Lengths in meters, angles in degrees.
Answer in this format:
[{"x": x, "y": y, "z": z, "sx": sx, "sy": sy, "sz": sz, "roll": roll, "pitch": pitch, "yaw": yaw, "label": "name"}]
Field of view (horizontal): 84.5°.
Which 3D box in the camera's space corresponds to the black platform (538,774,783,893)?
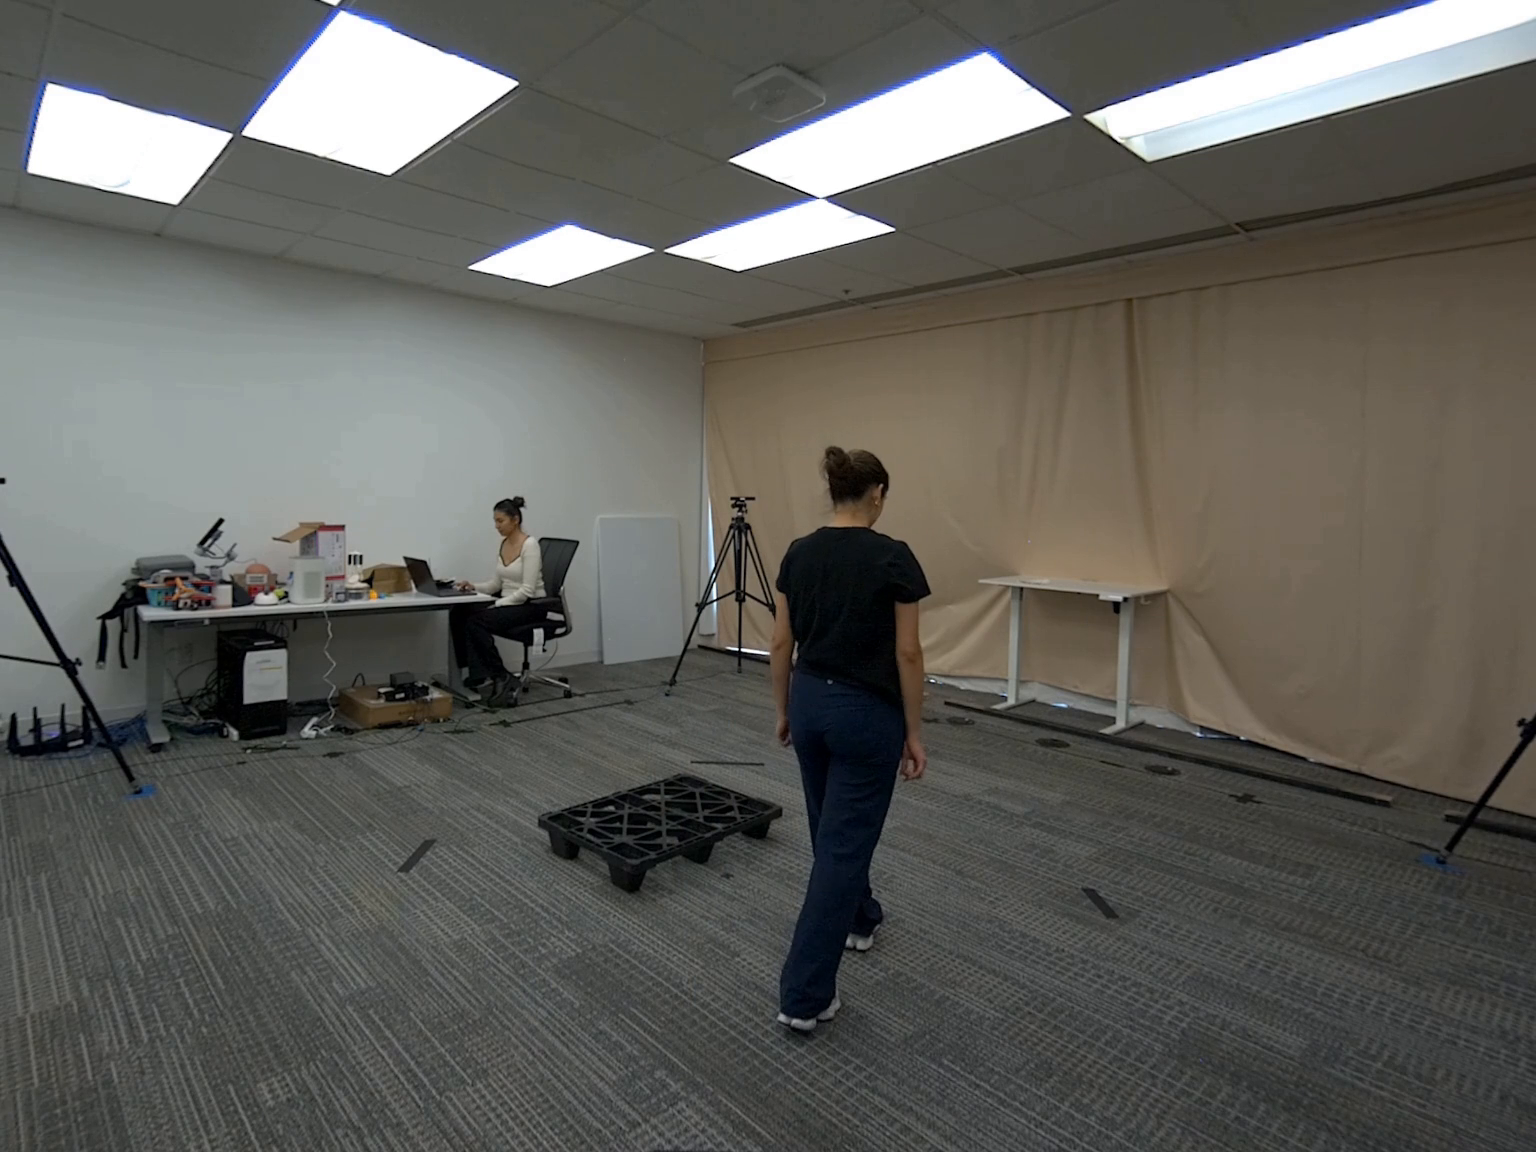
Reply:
[{"x": -0.428, "y": 1.013, "z": 3.354, "sx": 0.620, "sy": 0.143, "sz": 0.787, "roll": 5, "pitch": 6, "yaw": 42, "label": "black platform"}]
